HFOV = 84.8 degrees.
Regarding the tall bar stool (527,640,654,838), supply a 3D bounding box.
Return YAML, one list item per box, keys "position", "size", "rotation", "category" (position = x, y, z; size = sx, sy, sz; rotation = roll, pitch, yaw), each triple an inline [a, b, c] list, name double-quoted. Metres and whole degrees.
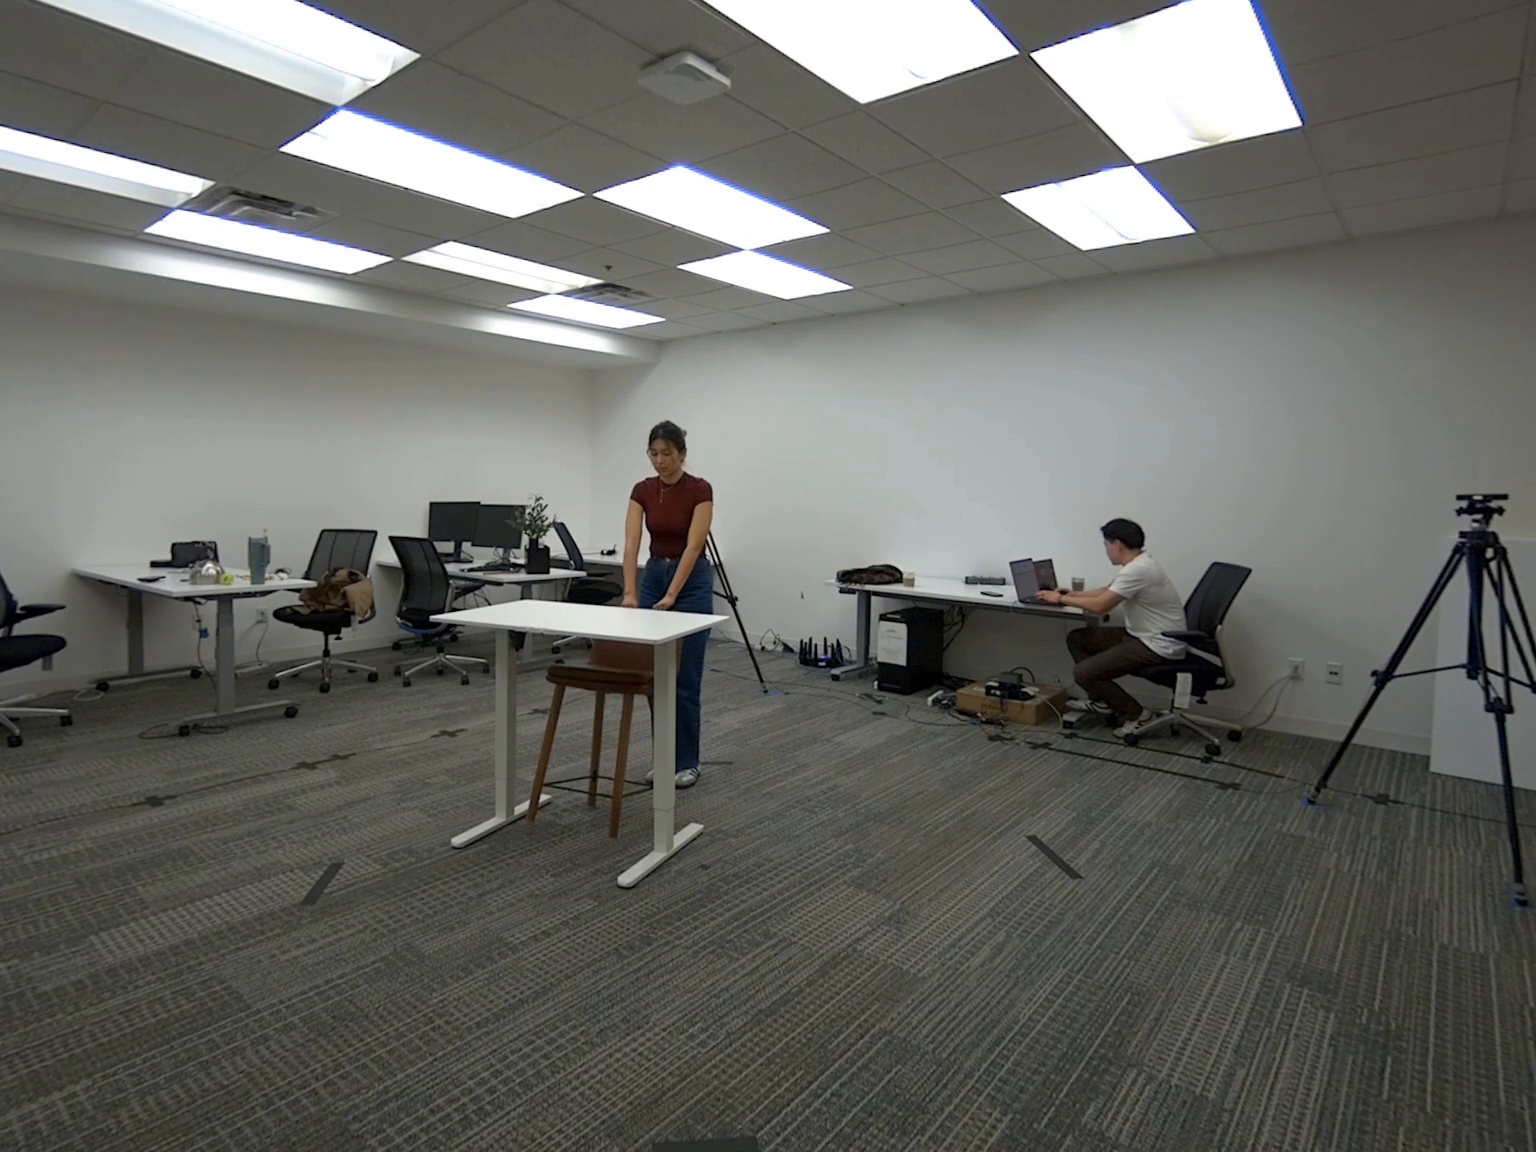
- position: [-0.660, 0.557, 3.496]
  size: [0.468, 0.897, 0.453]
  rotation: [2, -9, 23]
  category: "tall bar stool"
